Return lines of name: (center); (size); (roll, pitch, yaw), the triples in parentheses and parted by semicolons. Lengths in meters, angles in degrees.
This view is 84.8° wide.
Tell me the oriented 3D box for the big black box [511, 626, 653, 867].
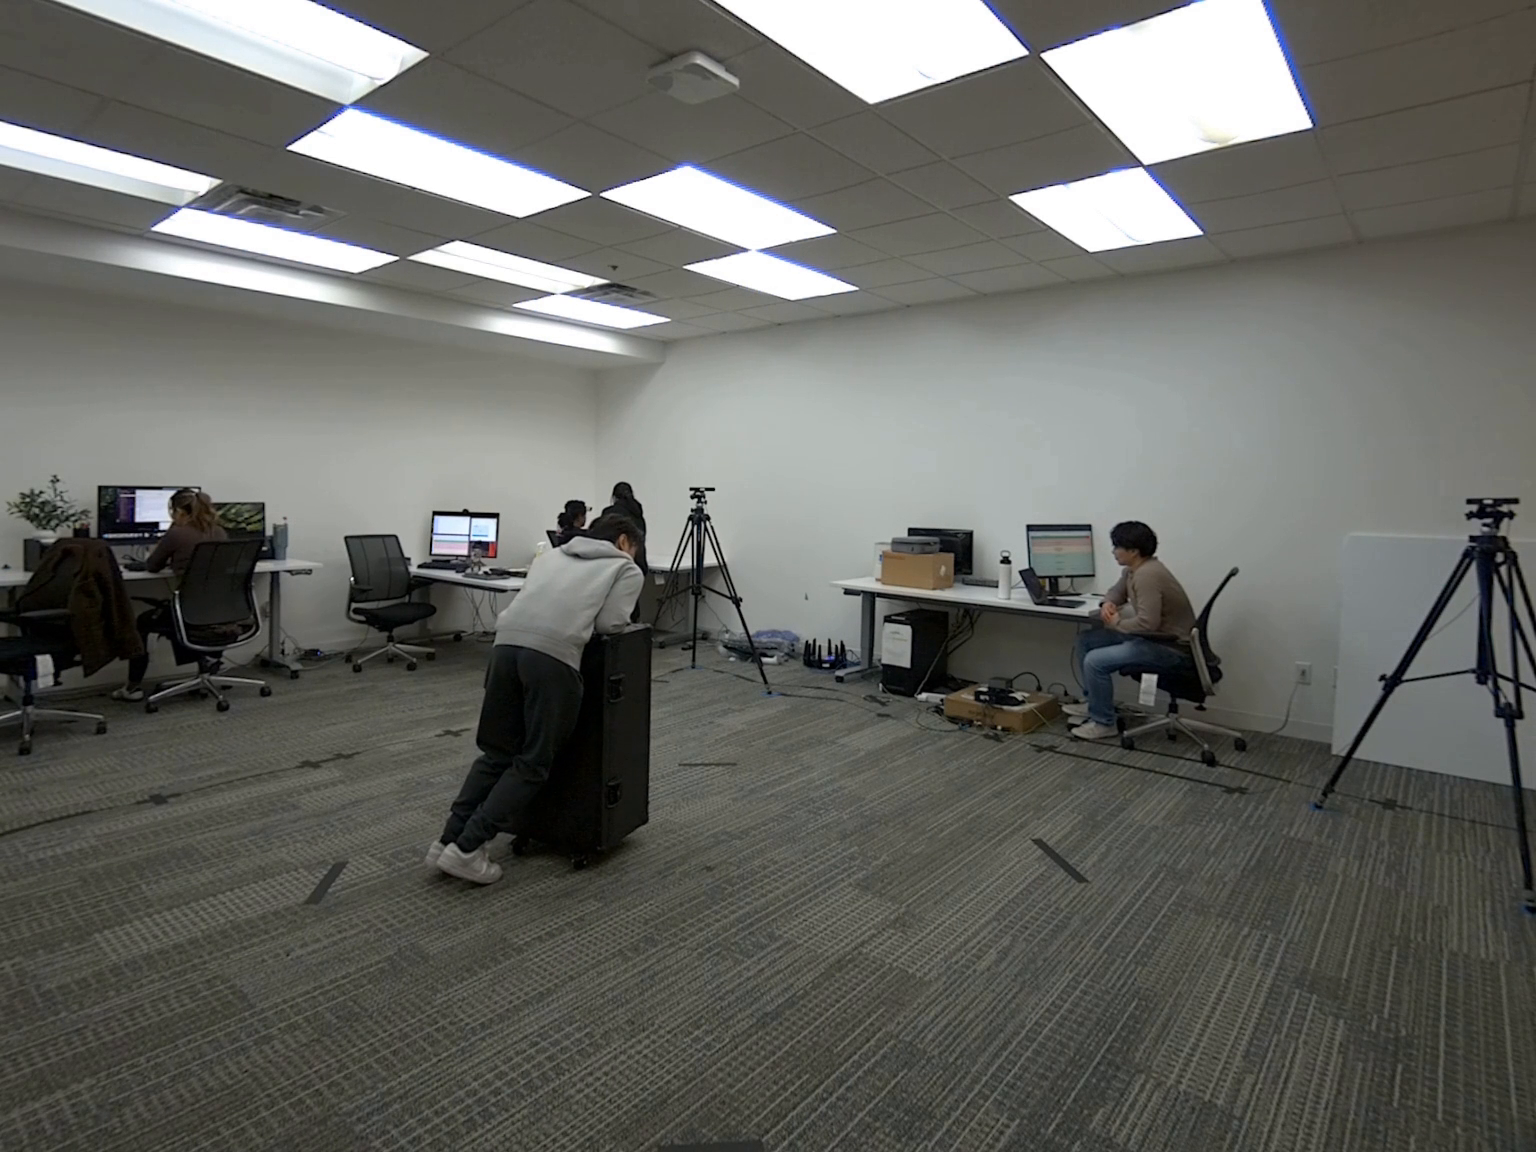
big black box: (-0.758, 0.621, 3.299); (0.534, 0.860, 0.387); (2, 2, 23)
